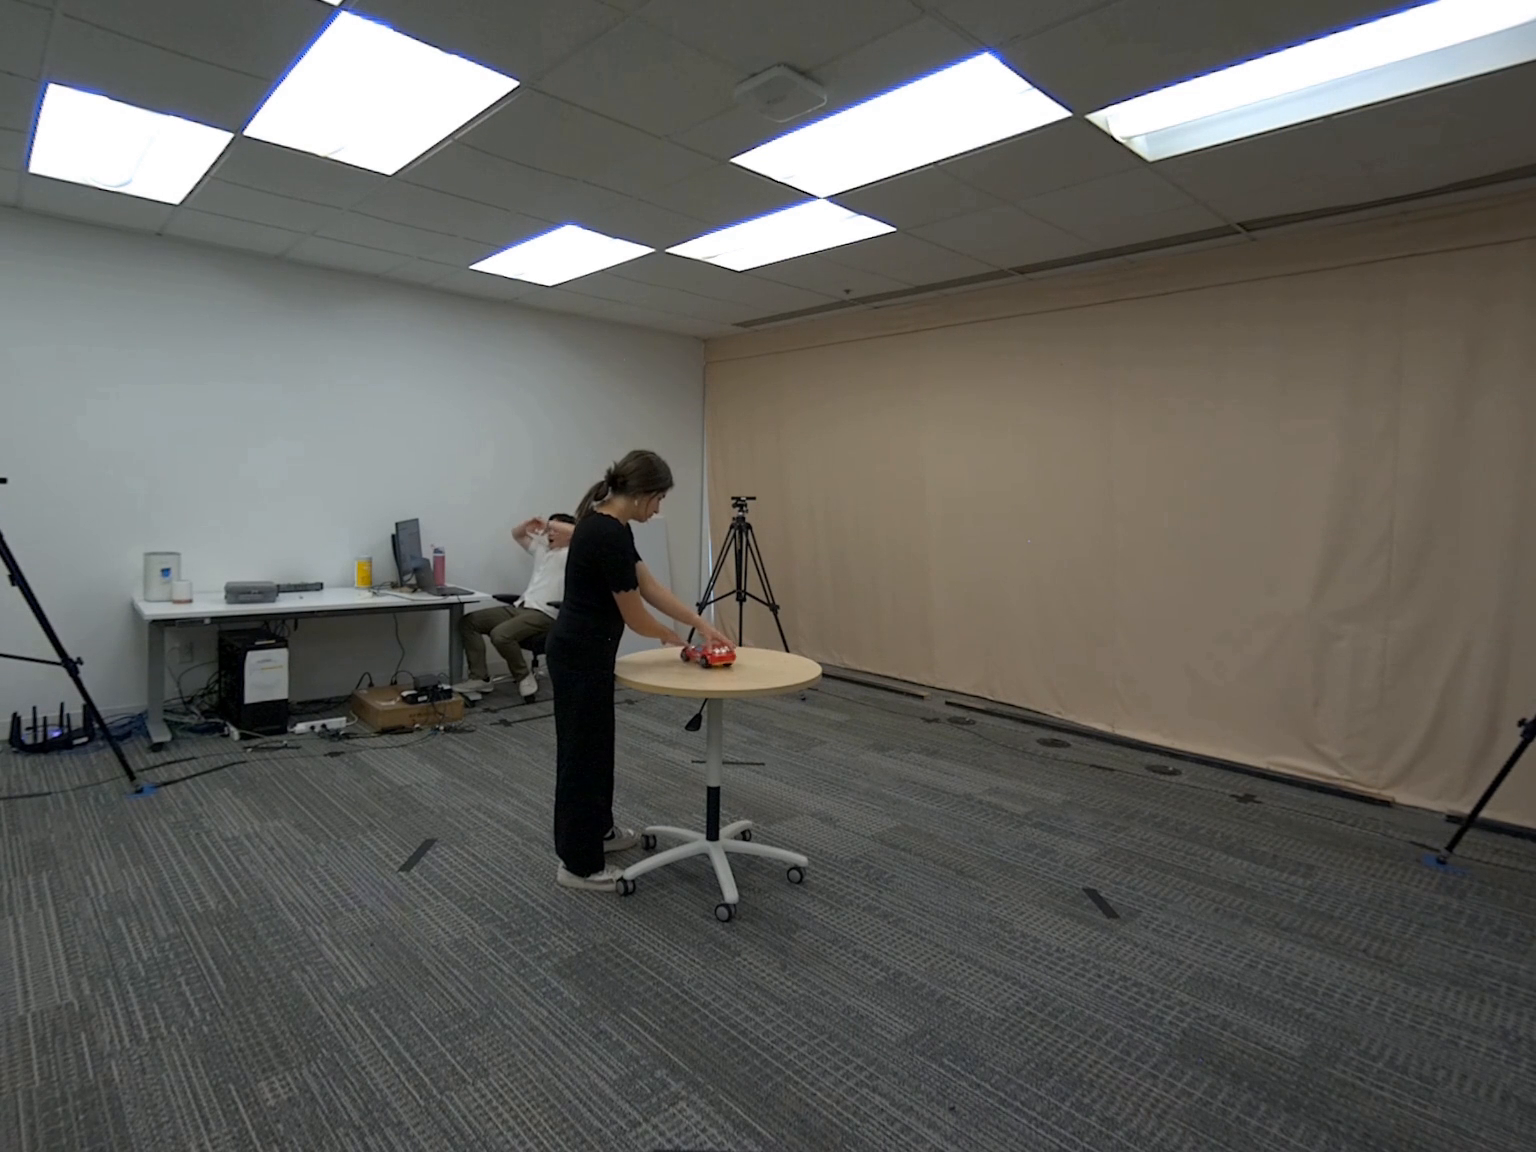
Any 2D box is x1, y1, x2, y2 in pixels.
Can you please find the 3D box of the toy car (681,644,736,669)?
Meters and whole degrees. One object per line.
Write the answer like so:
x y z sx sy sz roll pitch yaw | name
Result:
-0.219 0.292 3.063 0.127 0.083 0.259 -3 -4 -34 | toy car
